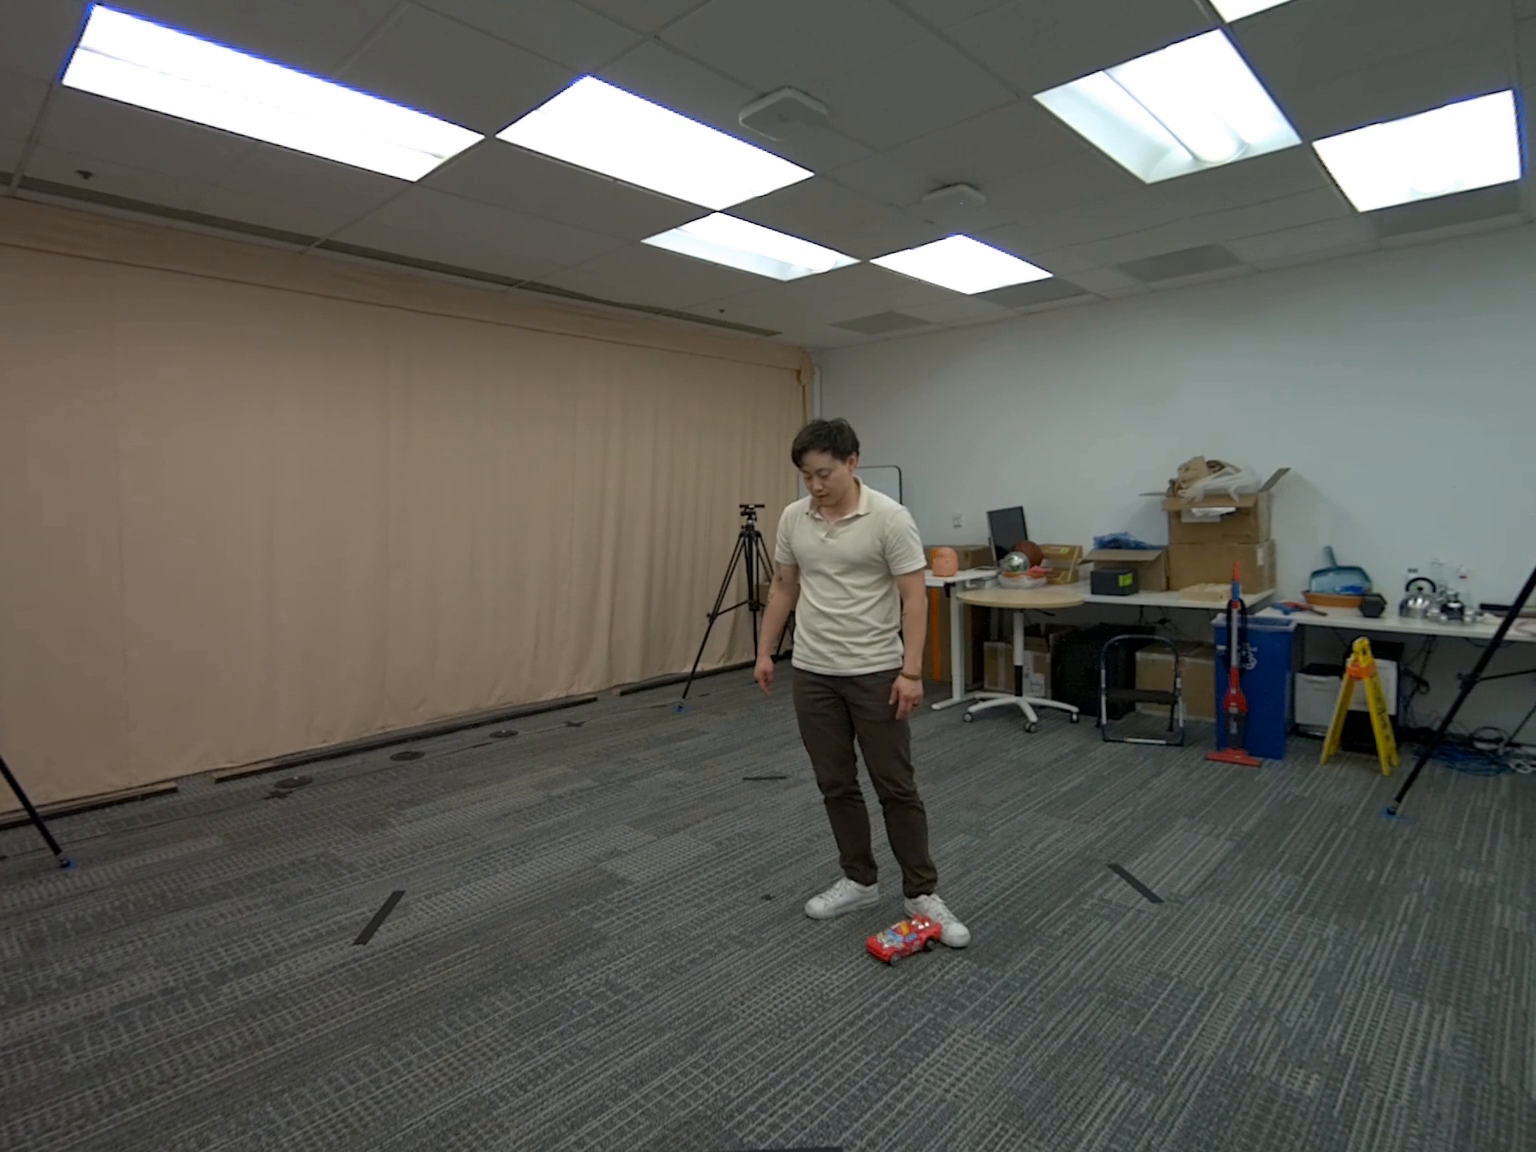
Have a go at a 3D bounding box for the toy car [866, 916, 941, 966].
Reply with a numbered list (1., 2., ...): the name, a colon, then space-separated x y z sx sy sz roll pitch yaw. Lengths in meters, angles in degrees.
1. toy car: 0.427 1.127 2.623 0.249 0.082 0.134 -17 12 -30
